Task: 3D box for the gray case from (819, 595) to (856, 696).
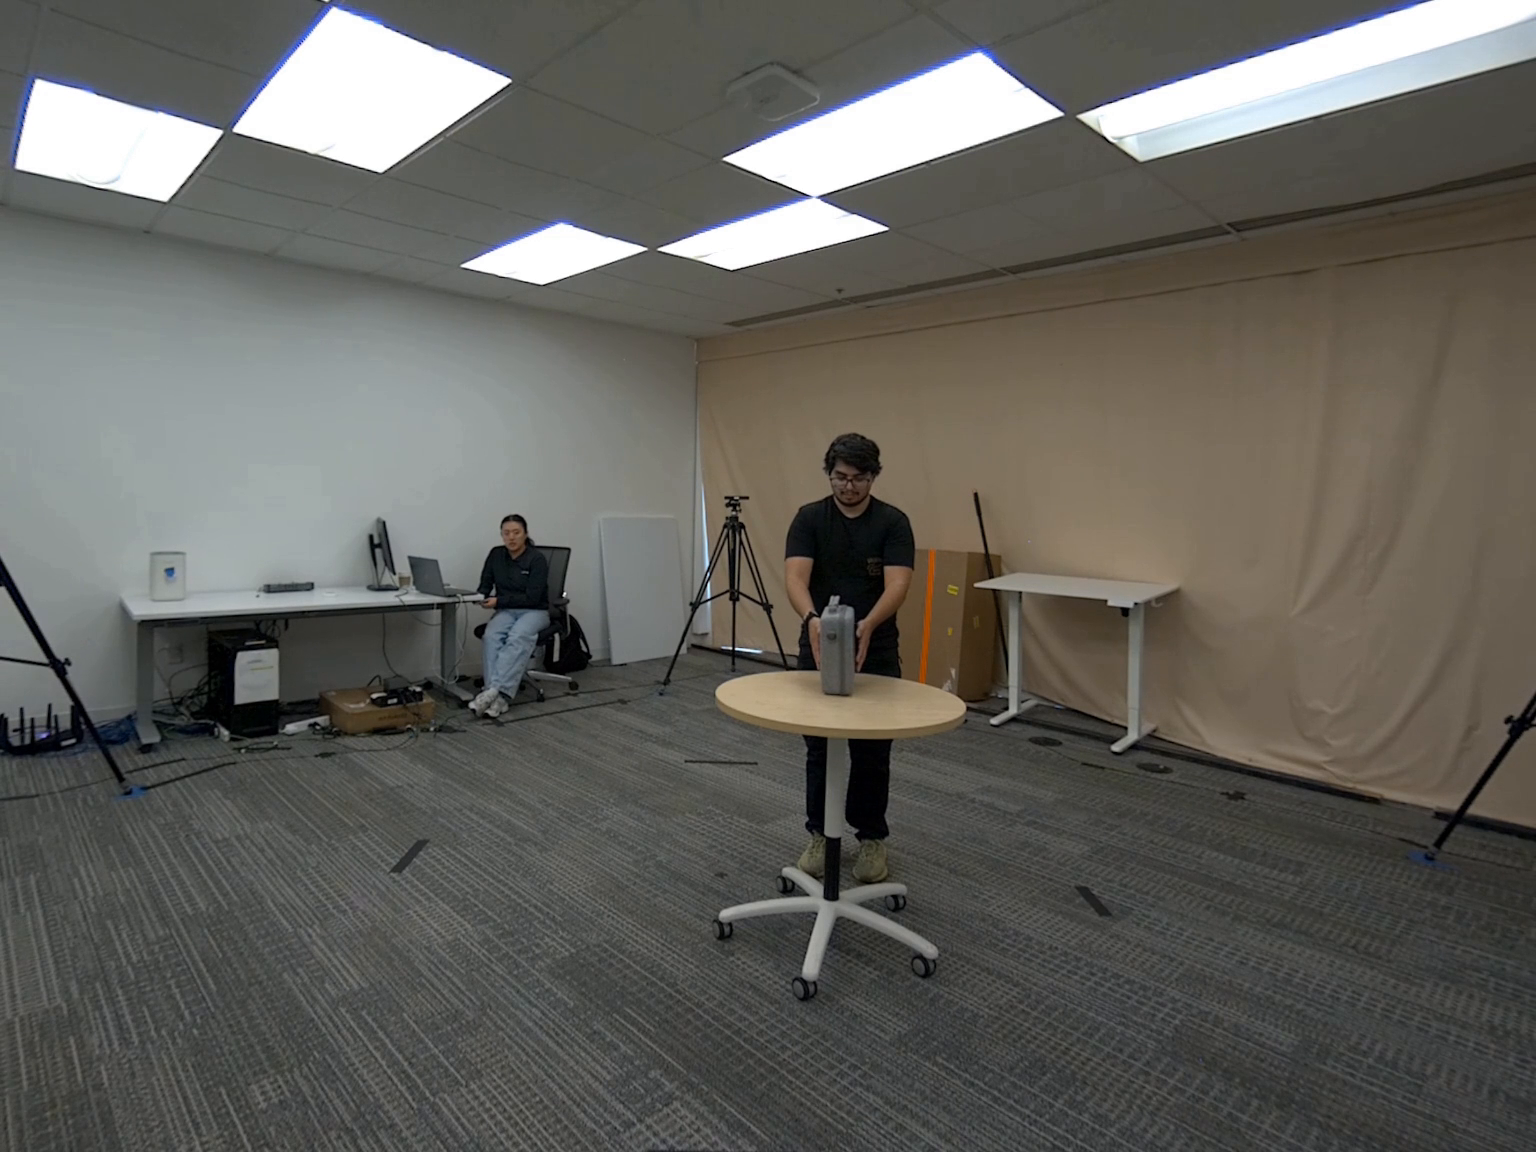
[{"bbox_3d":[0.210,0.231,2.709,0.105,0.260,0.256,1,4,6],"label":"gray case"}]
